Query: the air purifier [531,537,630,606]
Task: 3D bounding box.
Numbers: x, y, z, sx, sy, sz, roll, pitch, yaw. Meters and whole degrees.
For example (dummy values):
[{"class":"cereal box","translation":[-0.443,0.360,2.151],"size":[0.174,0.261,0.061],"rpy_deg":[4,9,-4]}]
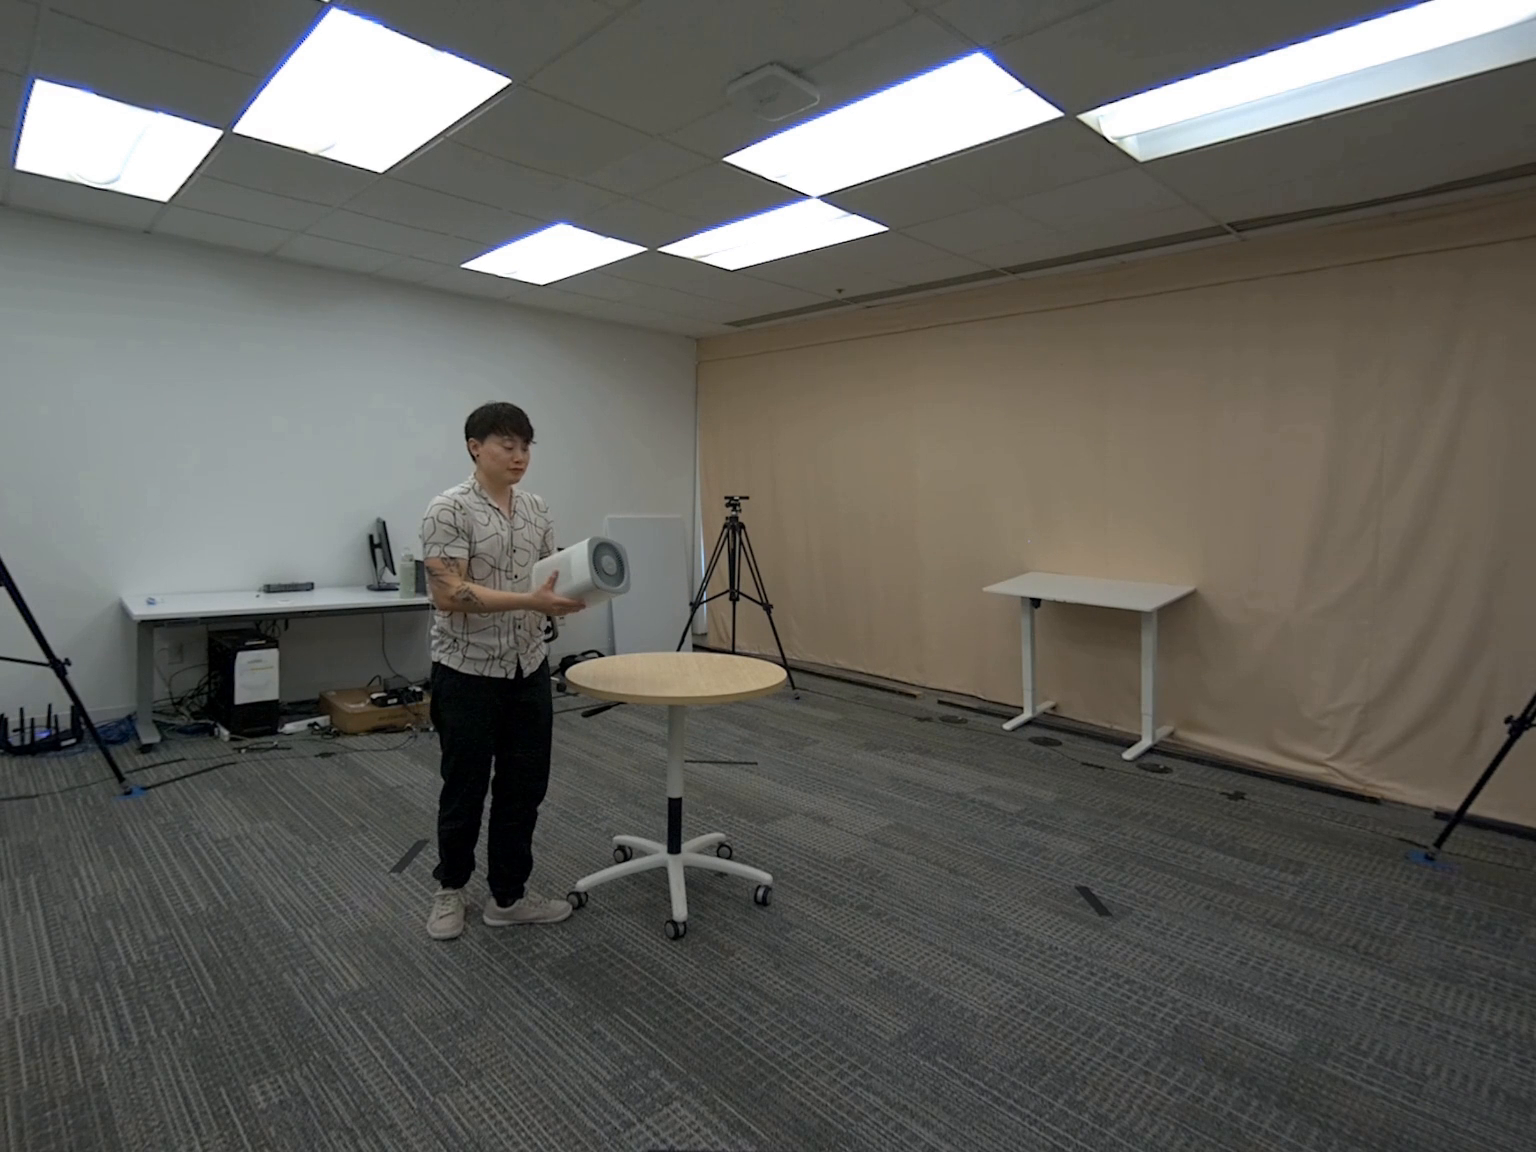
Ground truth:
[{"class":"air purifier","translation":[-0.588,0.002,2.534],"size":[0.268,0.174,0.166],"rpy_deg":[-20,-21,28]}]
